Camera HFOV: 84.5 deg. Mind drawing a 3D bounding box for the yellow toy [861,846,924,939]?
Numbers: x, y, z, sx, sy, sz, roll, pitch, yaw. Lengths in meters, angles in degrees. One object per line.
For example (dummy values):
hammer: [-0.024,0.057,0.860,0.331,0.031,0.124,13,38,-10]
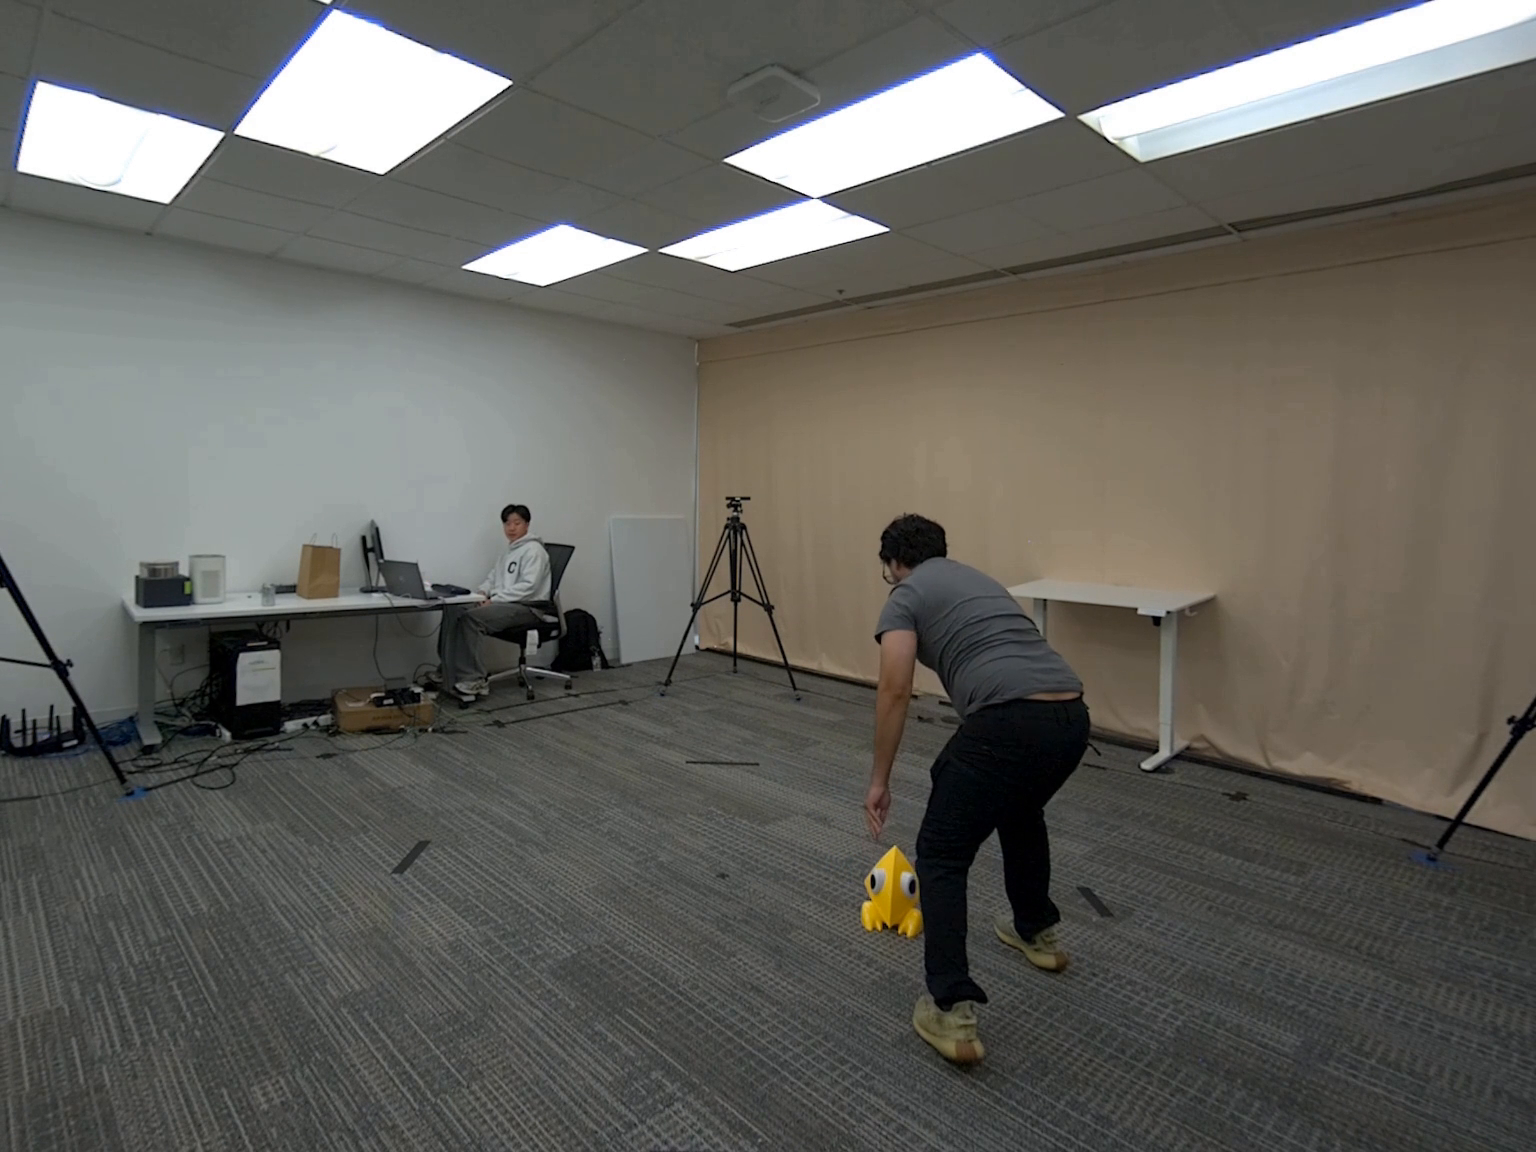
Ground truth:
yellow toy: [0.407,1.034,2.789,0.207,0.230,0.191,3,4,13]
